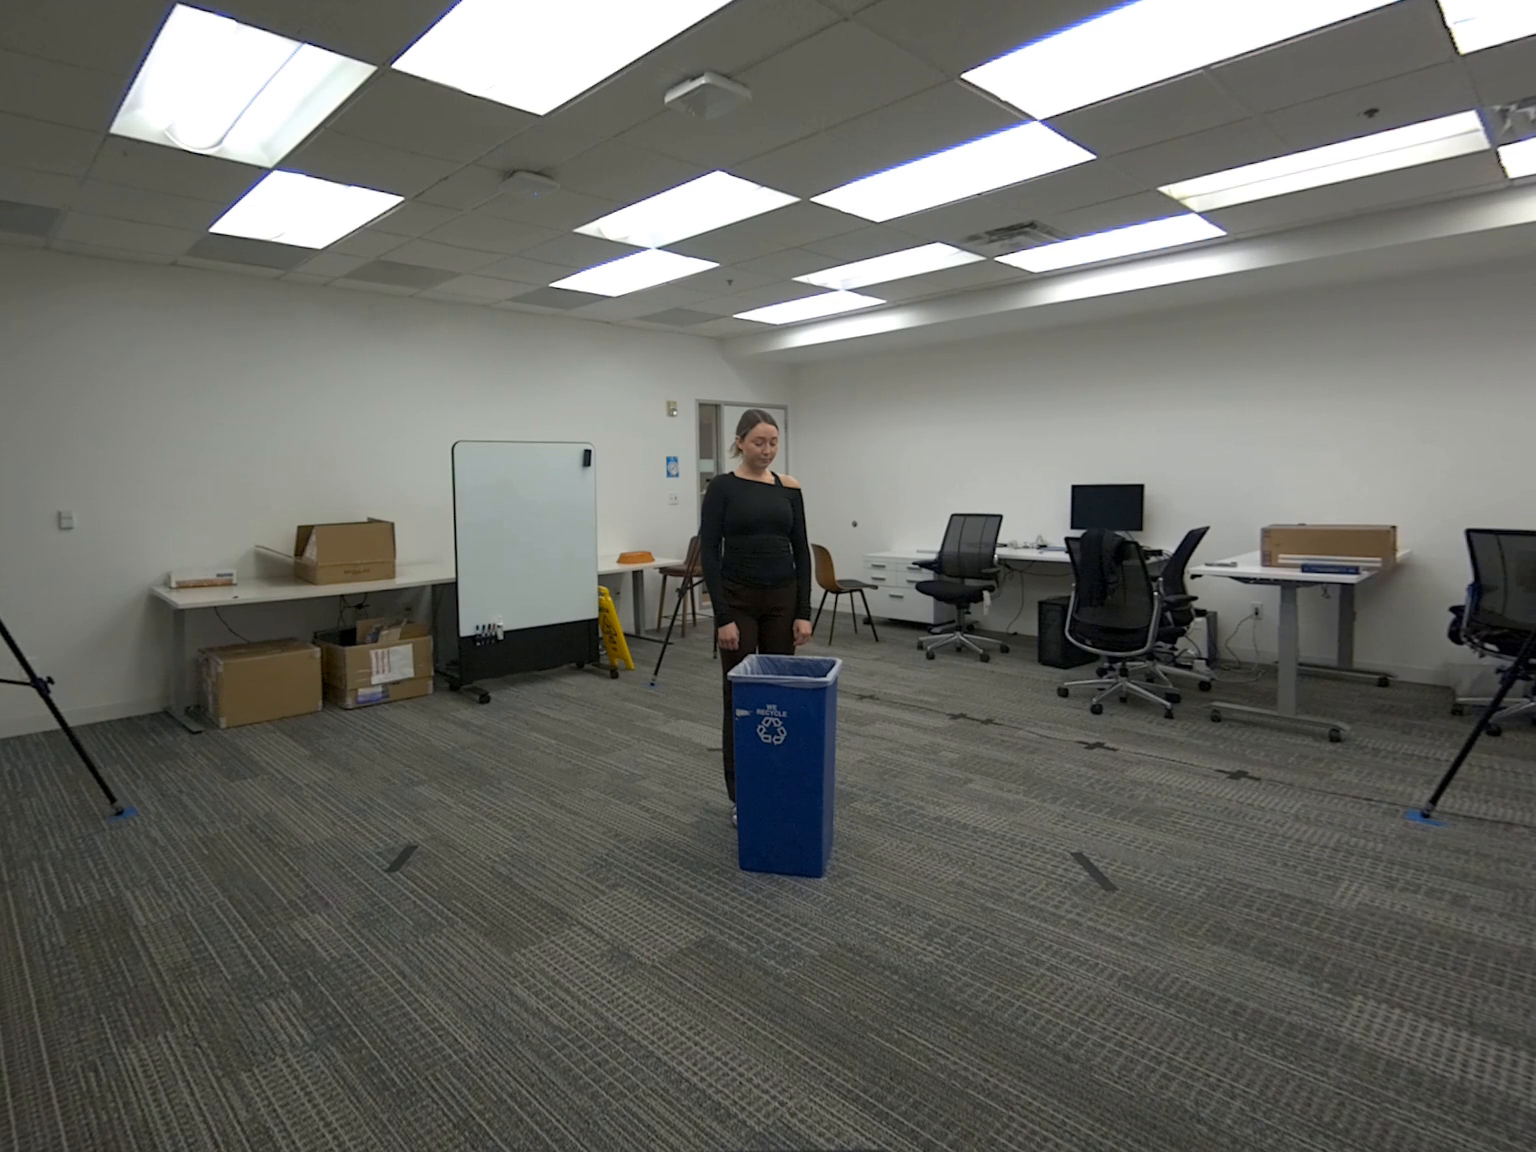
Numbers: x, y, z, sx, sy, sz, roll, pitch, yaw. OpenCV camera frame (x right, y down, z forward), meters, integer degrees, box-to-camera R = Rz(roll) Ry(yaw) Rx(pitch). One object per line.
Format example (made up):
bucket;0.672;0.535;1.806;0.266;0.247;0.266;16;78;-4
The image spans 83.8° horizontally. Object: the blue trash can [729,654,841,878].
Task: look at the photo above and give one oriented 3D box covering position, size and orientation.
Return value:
blue trash can;0.075;0.682;3.138;0.379;0.711;0.374;0;4;14
